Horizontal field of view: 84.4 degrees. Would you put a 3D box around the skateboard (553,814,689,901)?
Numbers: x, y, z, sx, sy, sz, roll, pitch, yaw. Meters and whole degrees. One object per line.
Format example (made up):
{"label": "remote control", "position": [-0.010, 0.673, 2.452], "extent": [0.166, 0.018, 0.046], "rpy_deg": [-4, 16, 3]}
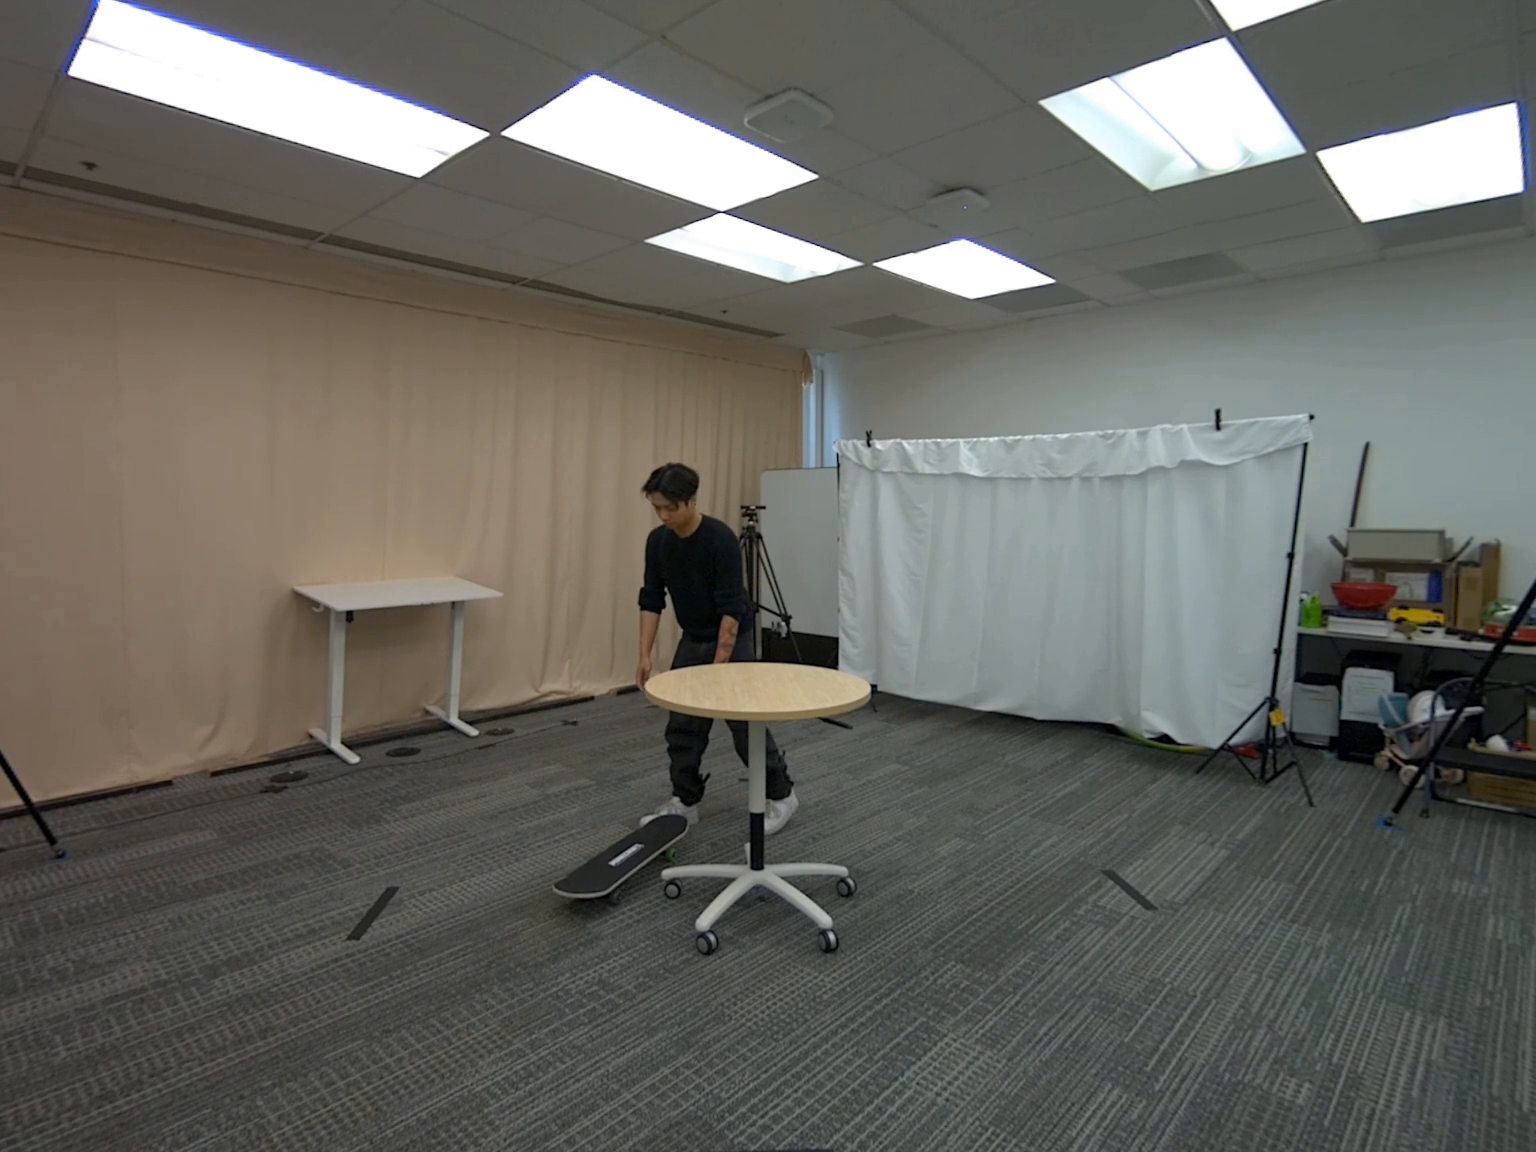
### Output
{"label": "skateboard", "position": [-0.531, 1.070, 3.162], "extent": [0.198, 0.110, 0.768], "rpy_deg": [1, 5, 24]}
